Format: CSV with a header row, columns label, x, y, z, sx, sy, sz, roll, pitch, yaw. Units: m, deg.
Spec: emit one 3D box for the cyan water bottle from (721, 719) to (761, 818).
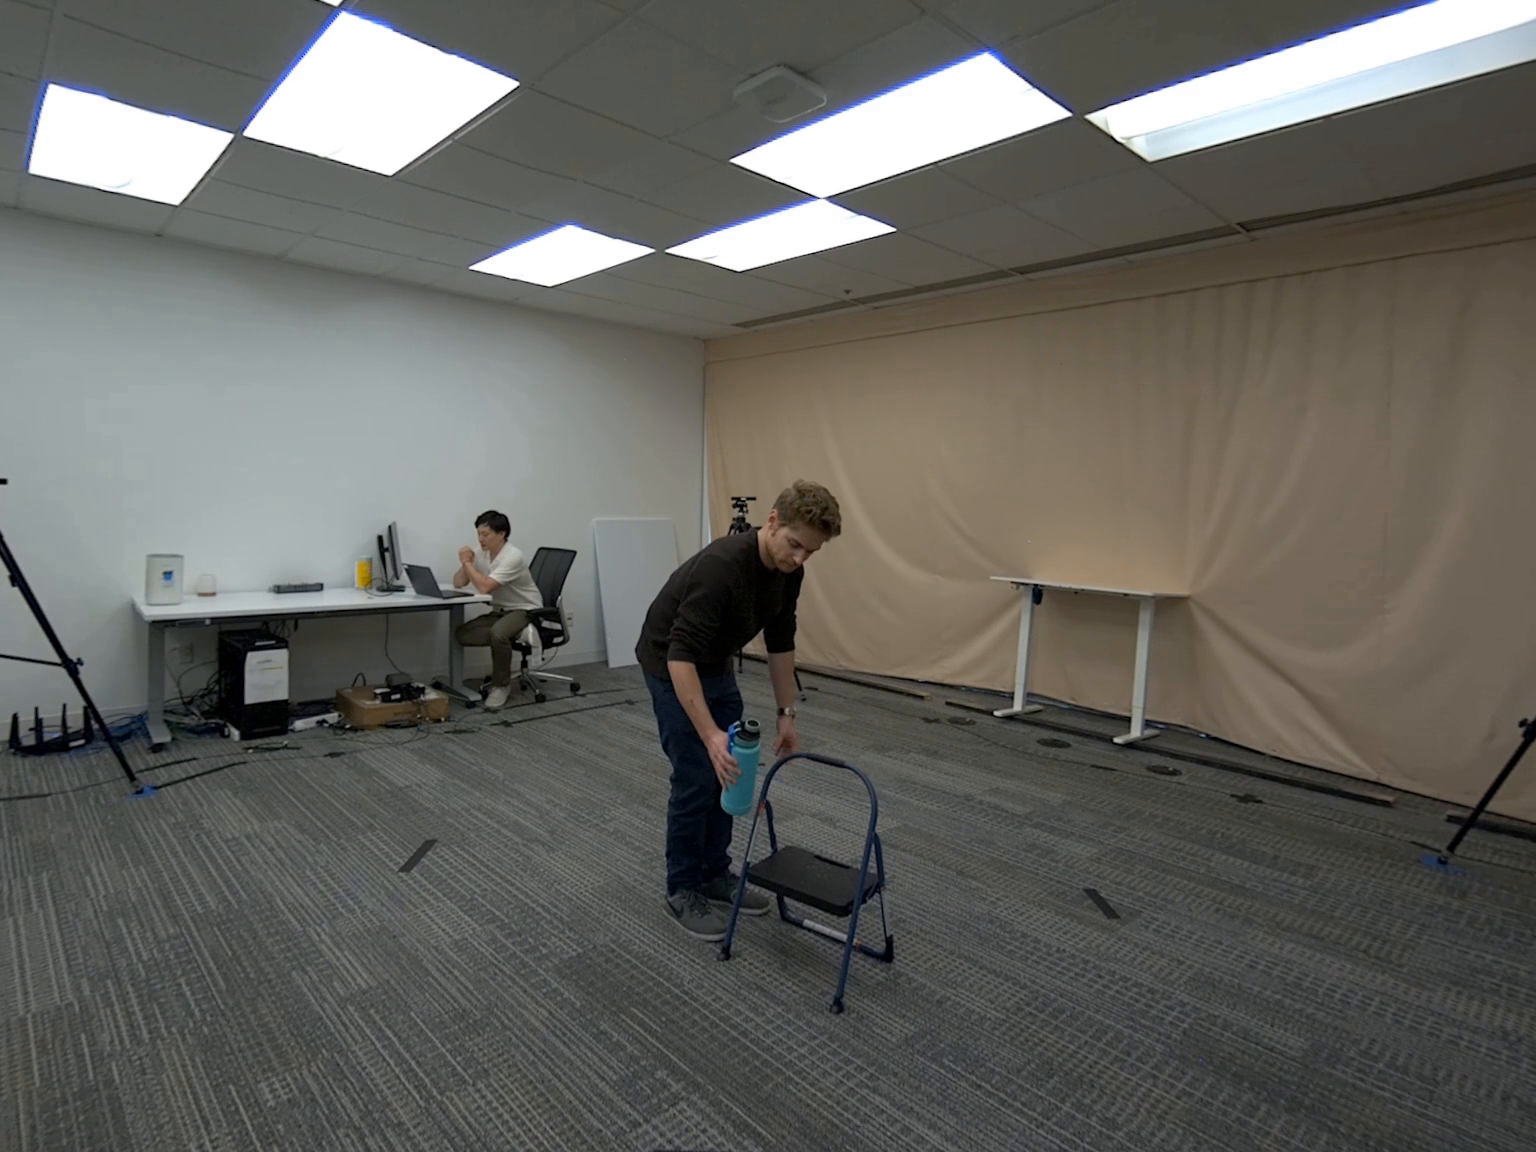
label,x,y,z,sx,sy,sz,roll,pitch,yaw
cyan water bottle,-0.076,0.534,2.298,0.092,0.279,0.094,2,26,-3
